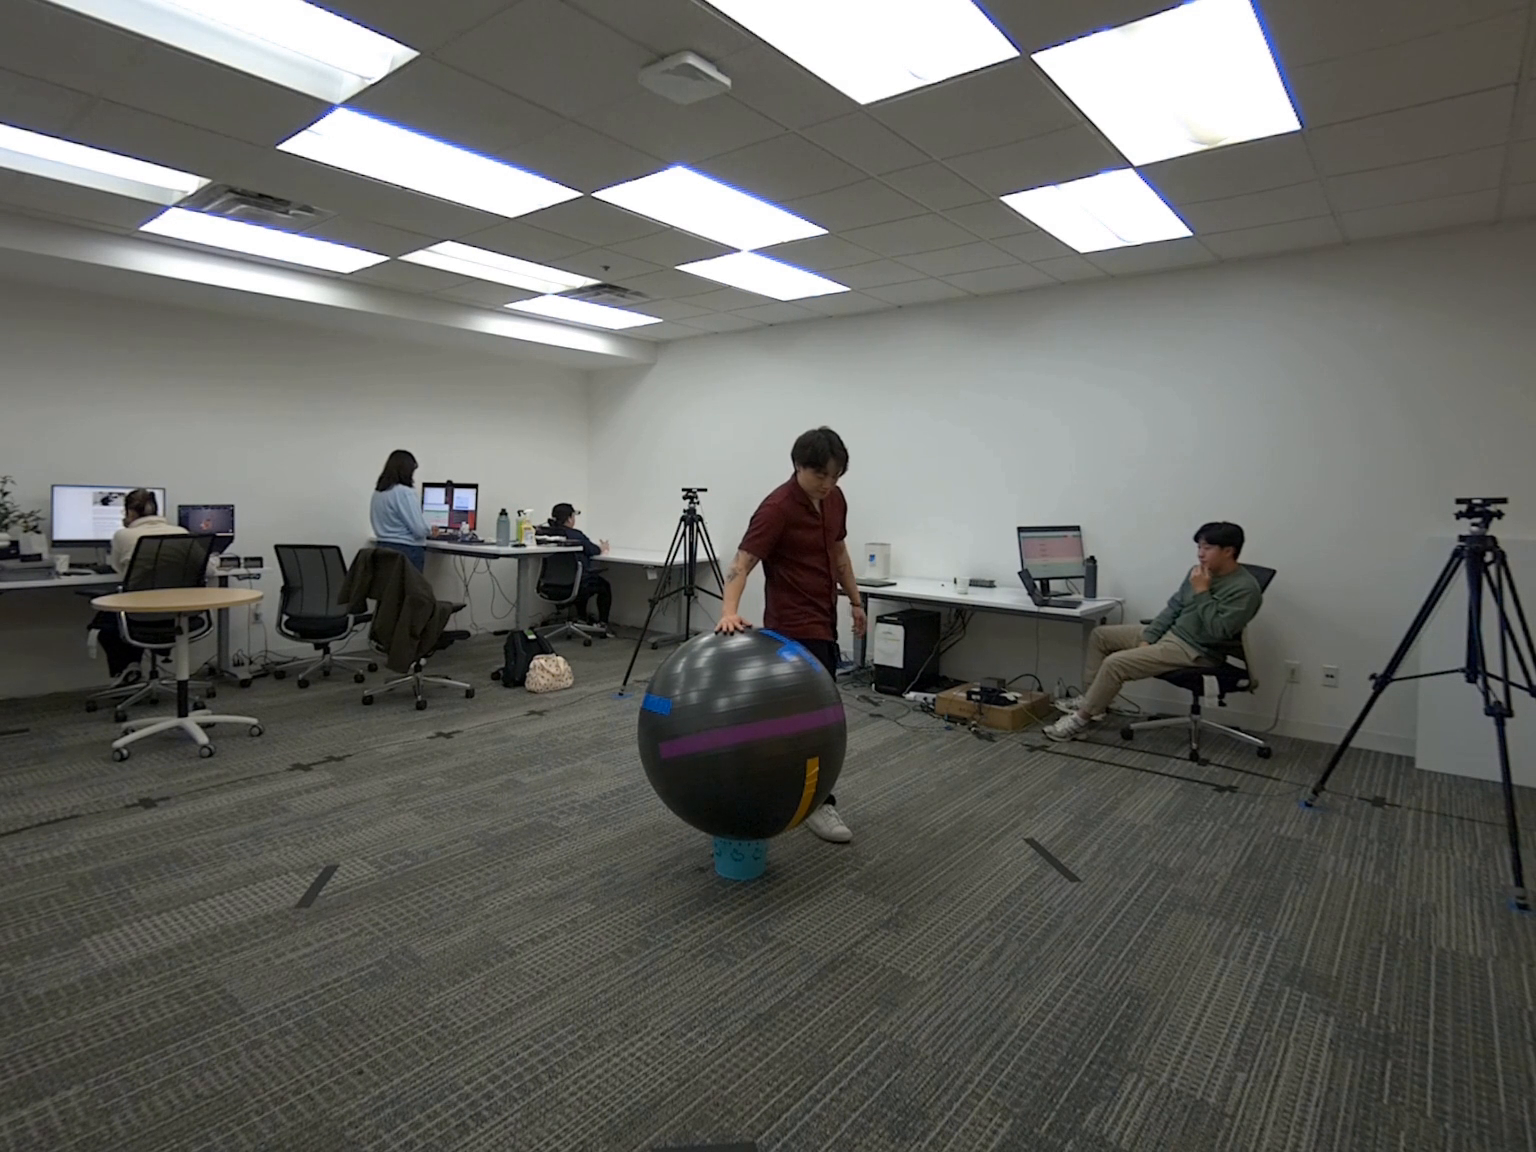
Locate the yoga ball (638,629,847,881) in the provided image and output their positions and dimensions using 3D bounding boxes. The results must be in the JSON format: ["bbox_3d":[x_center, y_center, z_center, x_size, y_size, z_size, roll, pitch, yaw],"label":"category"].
[{"bbox_3d":[-0.112,0.569,3.092,0.757,0.755,0.762,1,4,-2],"label":"yoga ball"}]
